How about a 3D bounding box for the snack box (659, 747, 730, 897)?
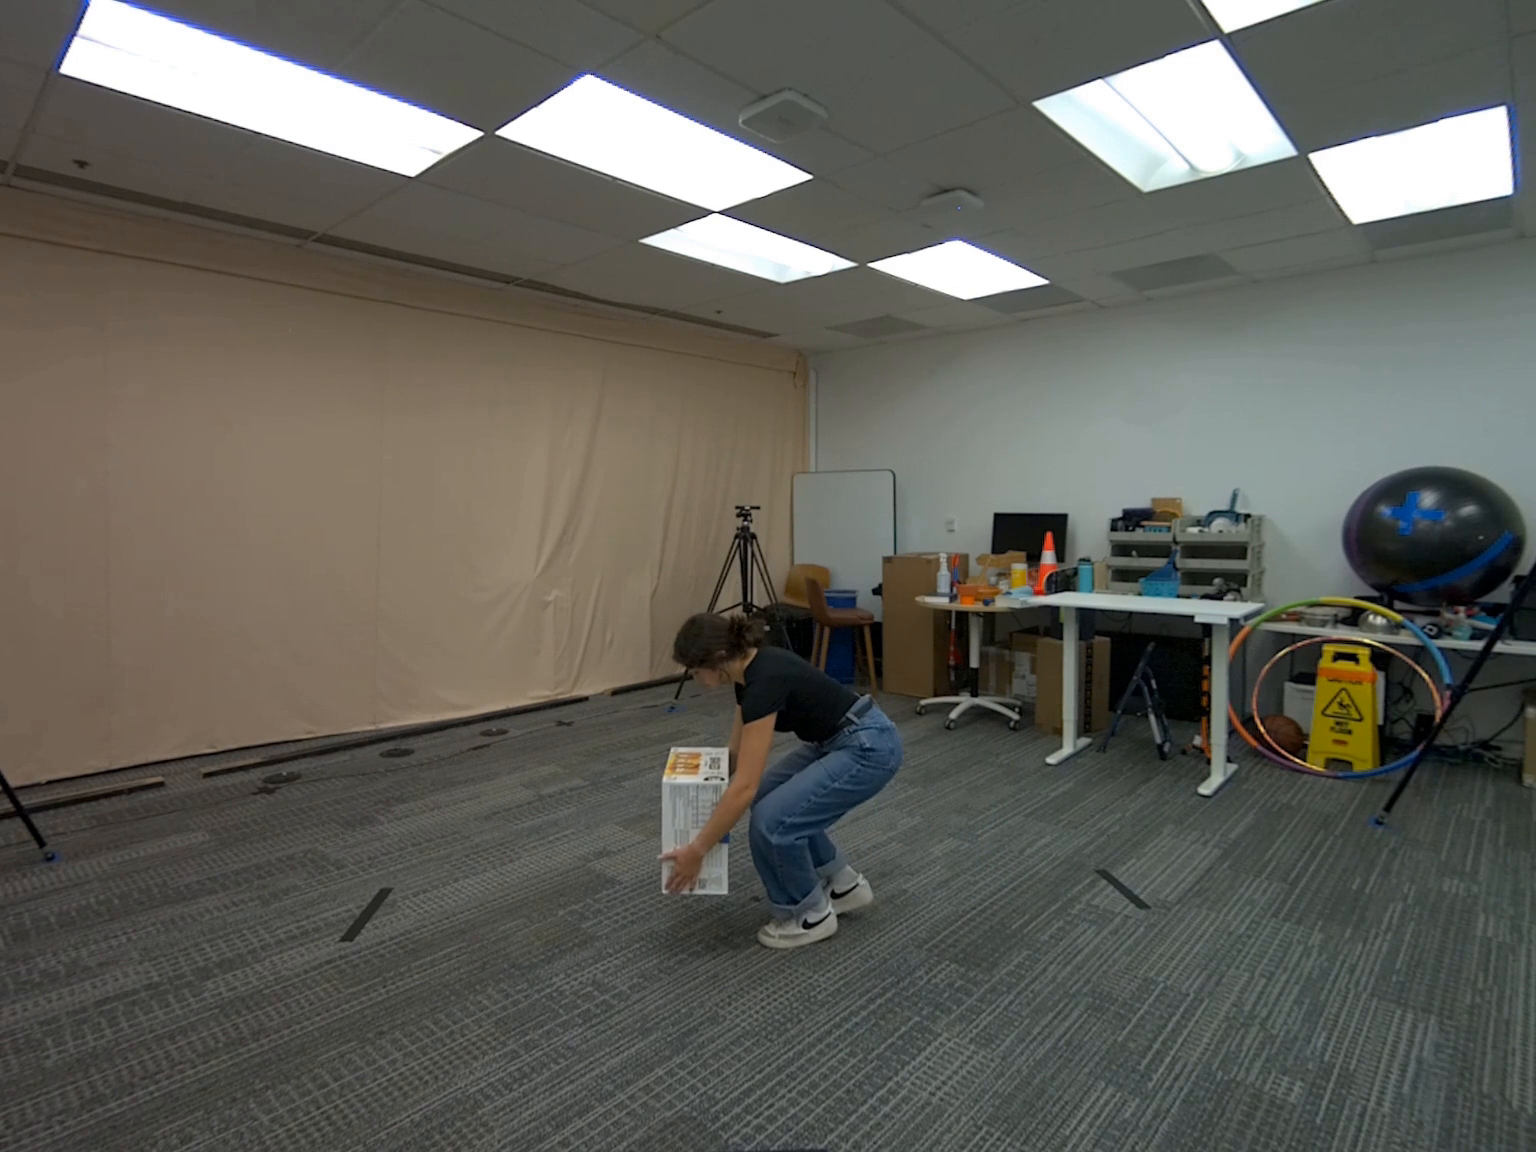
[{"bbox_3d":[-0.225,0.772,2.723,0.206,0.340,0.405,0,2,-1],"label":"snack box"}]
